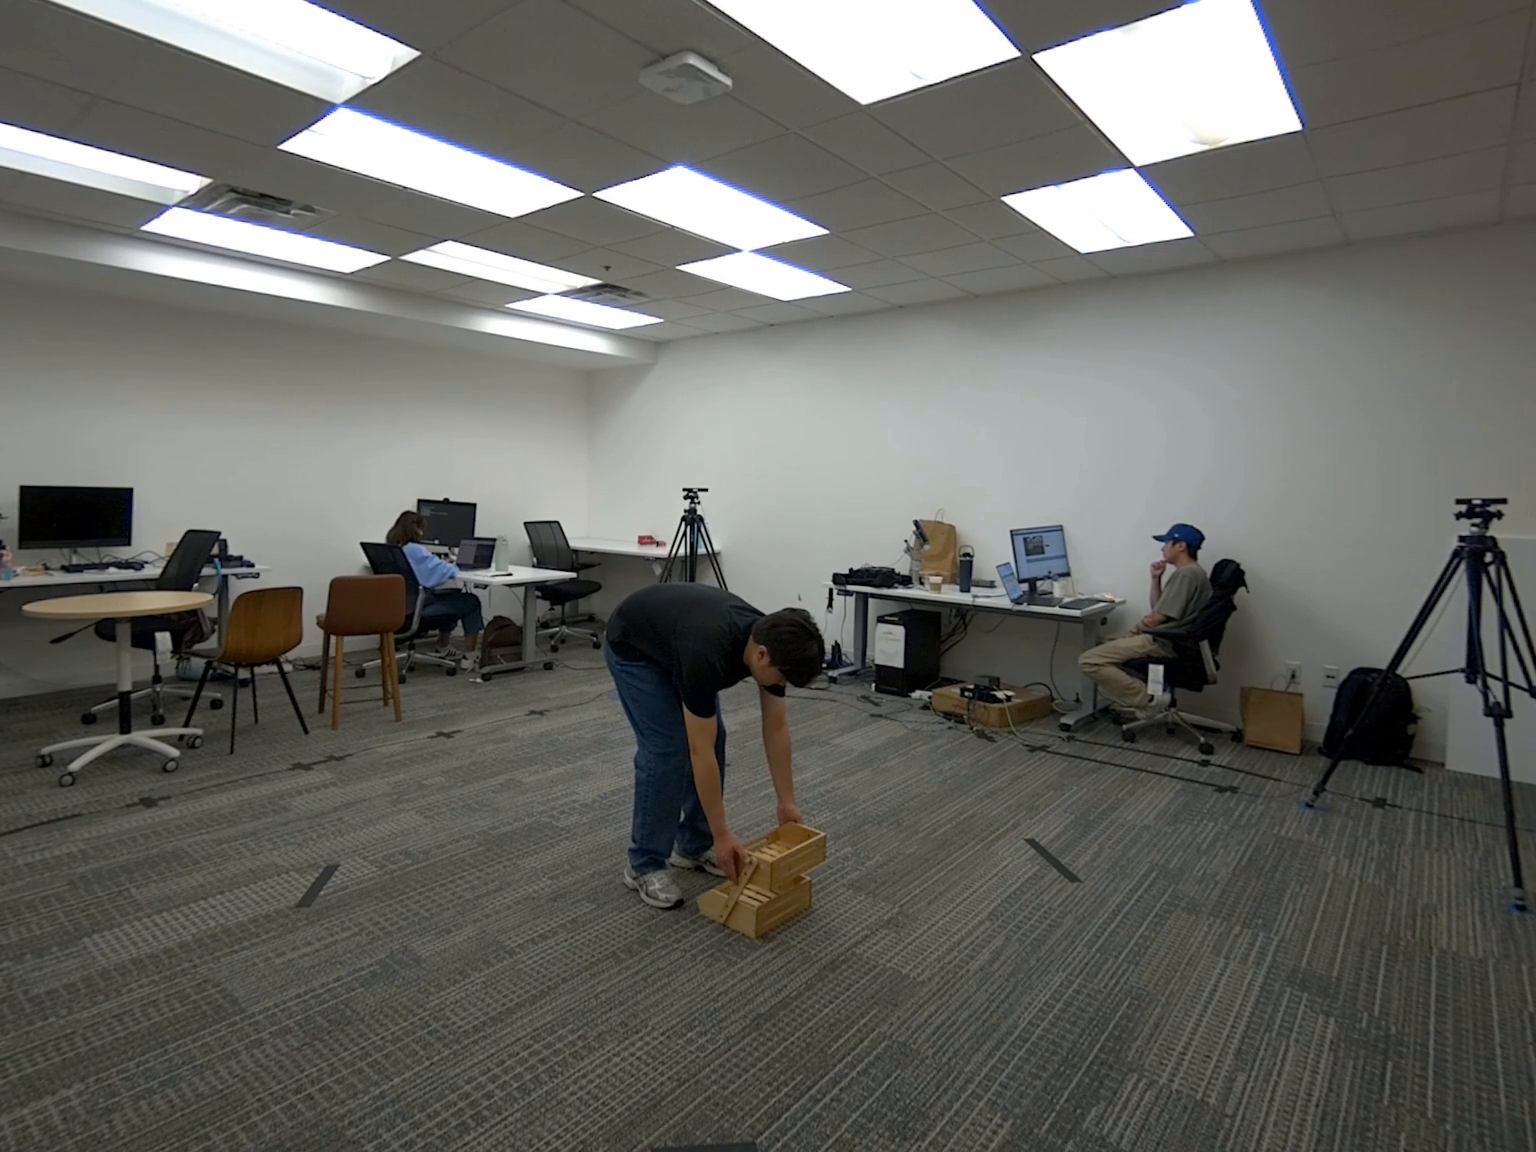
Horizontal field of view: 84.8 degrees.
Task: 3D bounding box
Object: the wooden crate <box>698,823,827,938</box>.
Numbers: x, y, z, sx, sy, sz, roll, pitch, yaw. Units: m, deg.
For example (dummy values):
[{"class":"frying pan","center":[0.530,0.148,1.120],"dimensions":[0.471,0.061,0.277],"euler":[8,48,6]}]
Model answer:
[{"class":"wooden crate","center":[-0.026,0.968,2.805],"dimensions":[0.312,0.272,0.315],"euler":[6,5,39]}]
